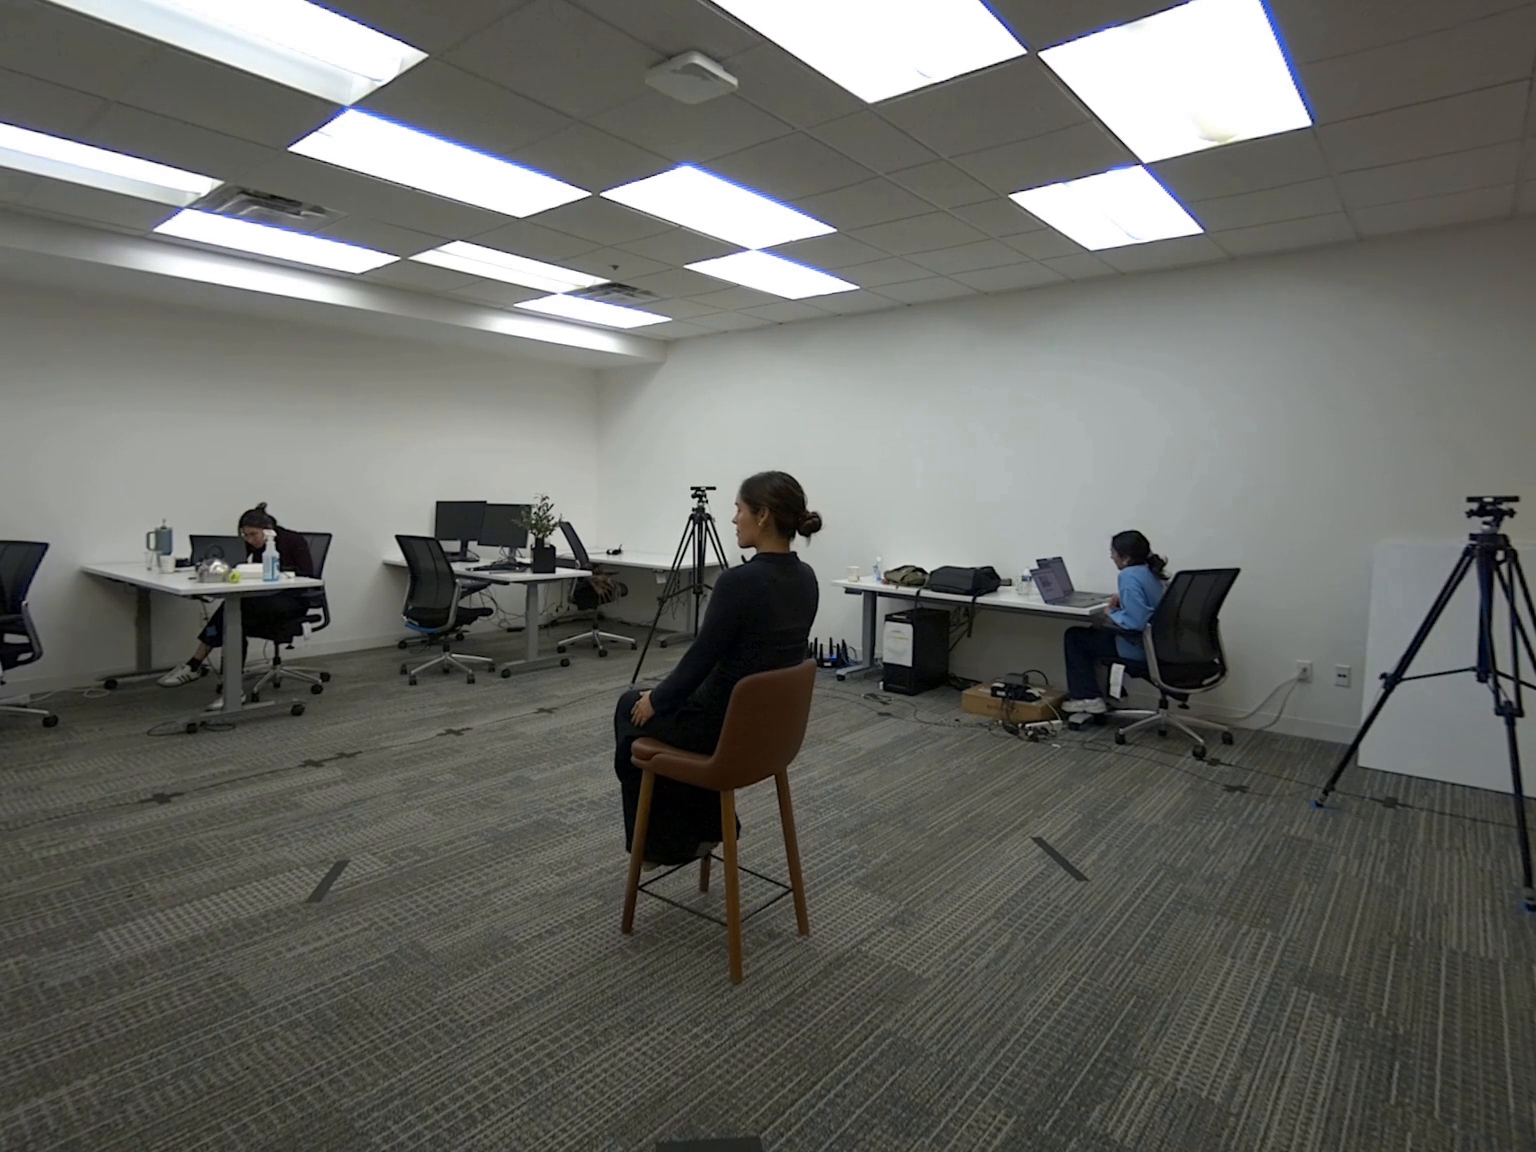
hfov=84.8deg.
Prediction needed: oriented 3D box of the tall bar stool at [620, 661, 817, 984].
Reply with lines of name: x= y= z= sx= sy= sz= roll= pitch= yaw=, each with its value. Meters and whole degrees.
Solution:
tall bar stool: x=-0.148 y=0.678 z=2.624 sx=0.483 sy=0.886 sz=0.443 roll=6 pitch=6 yaw=37
